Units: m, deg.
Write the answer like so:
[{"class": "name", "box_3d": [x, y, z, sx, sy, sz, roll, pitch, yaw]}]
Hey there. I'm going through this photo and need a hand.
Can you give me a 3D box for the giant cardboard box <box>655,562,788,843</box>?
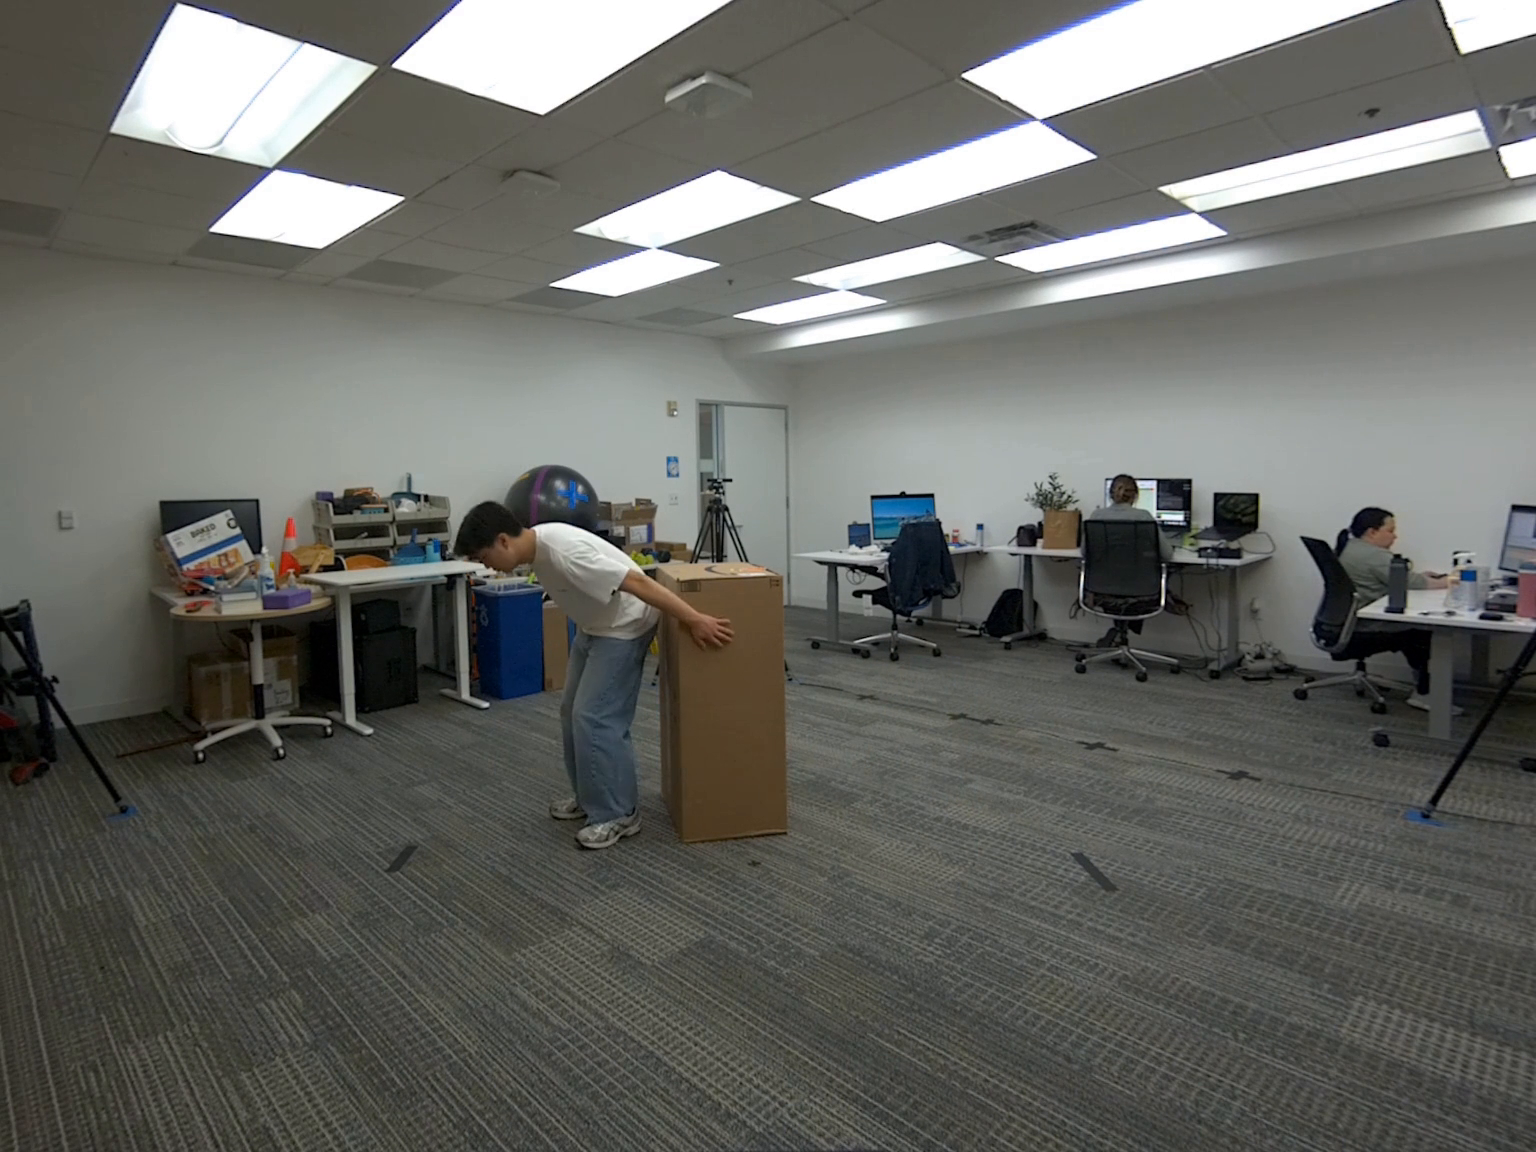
[{"class": "giant cardboard box", "box_3d": [-0.204, 0.486, 3.573, 0.420, 1.022, 0.587, -2, 4, -16]}]
